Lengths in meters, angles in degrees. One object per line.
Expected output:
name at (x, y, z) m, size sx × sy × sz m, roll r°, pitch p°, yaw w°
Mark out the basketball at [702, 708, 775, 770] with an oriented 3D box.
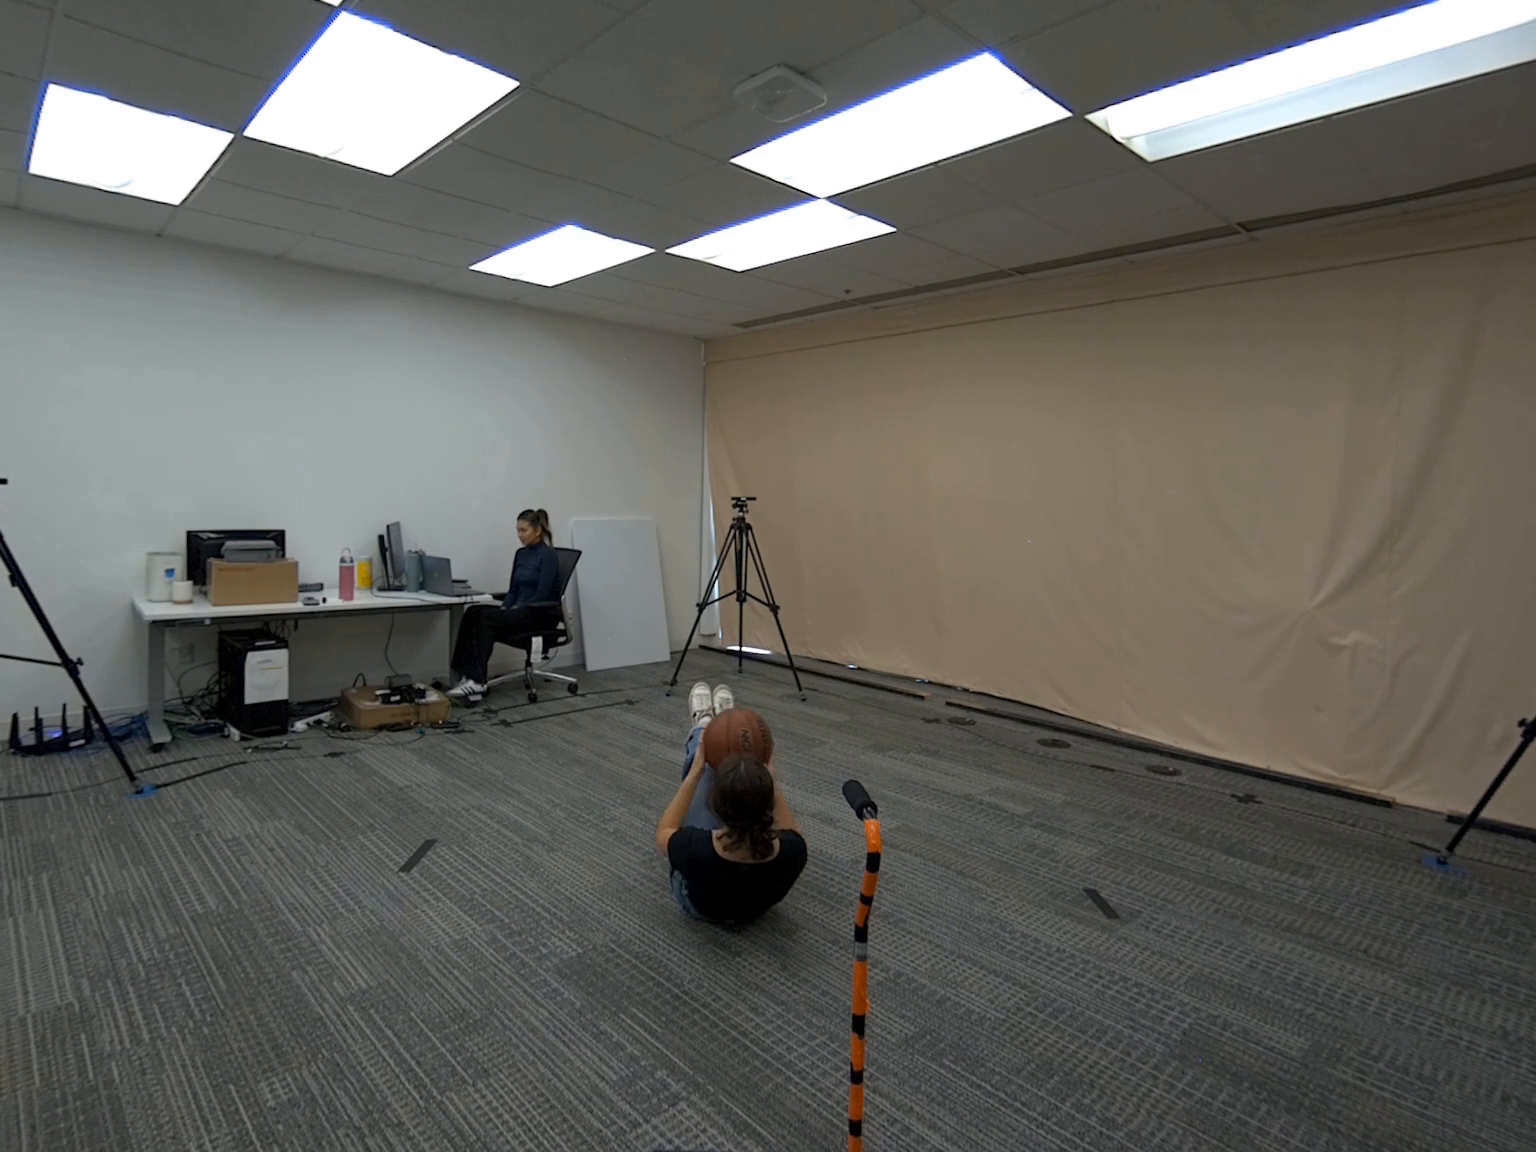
basketball at (-0.122, 0.573, 2.869) m, size 0.236 × 0.235 × 0.237 m, roll 1°, pitch 4°, yaw -1°
